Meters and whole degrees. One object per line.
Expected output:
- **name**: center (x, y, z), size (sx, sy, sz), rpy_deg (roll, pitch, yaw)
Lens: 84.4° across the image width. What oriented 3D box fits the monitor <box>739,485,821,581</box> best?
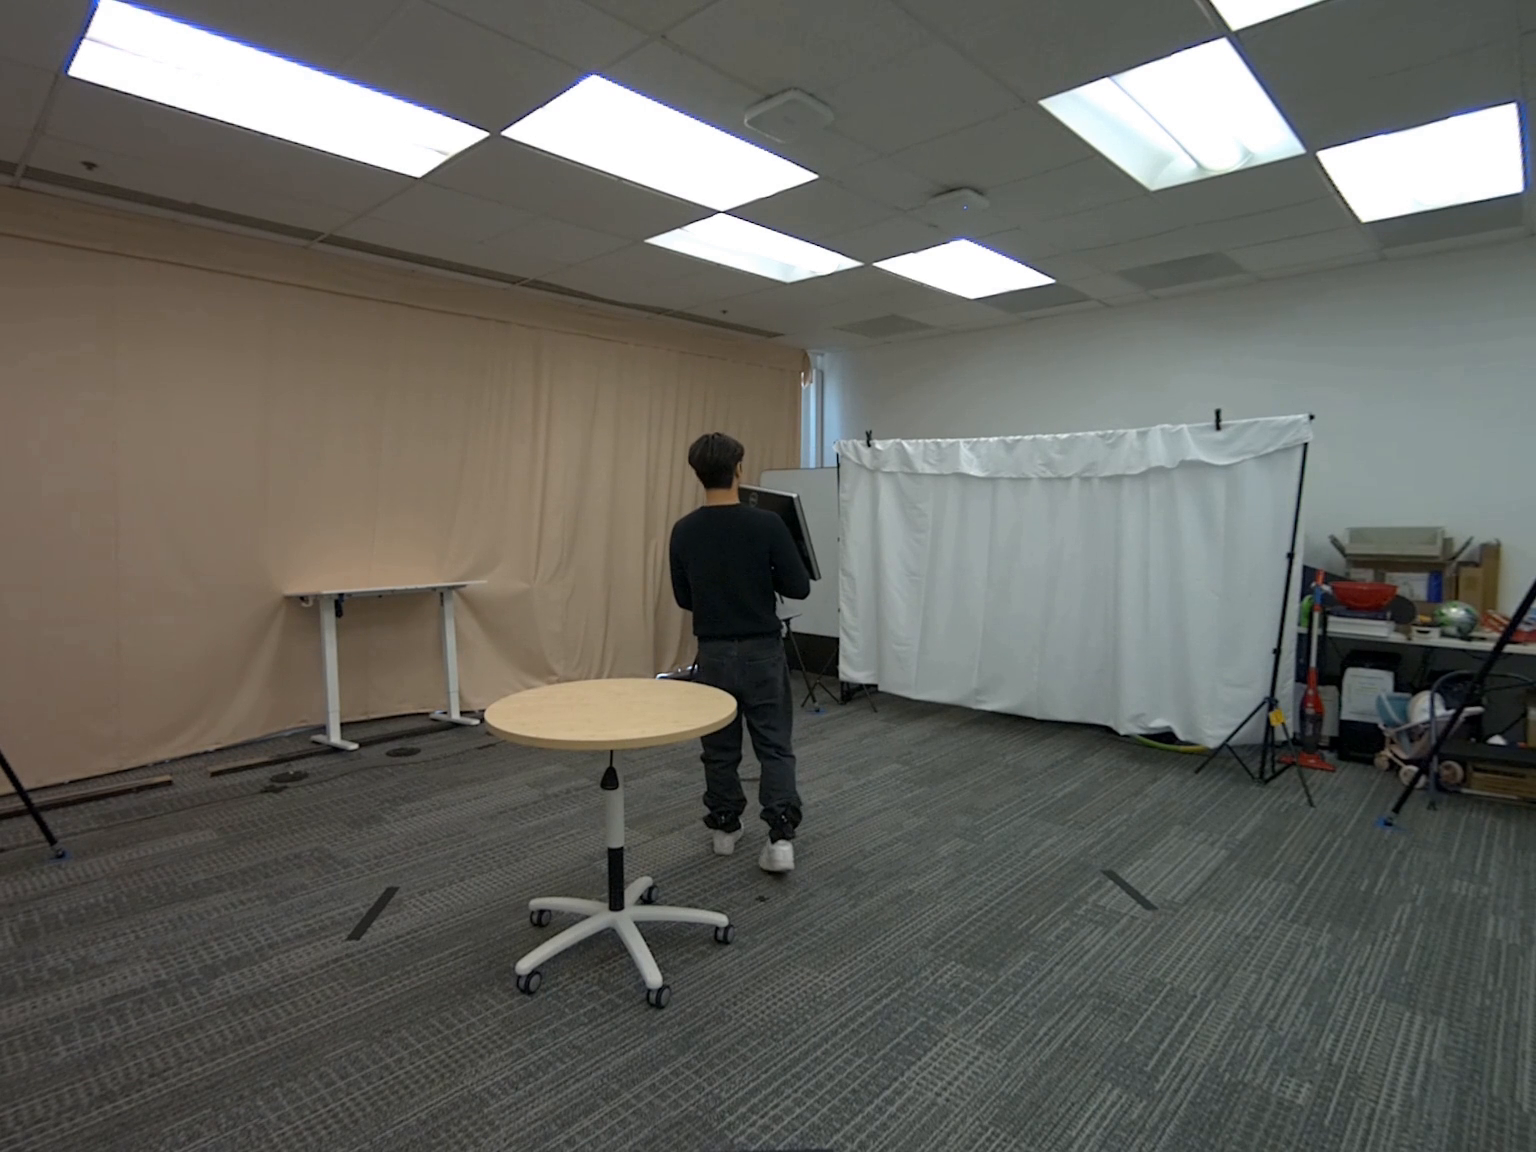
- **monitor**: center (-0.012, -0.106, 3.478), size (0.170, 0.513, 0.547), rpy_deg (-4, 11, -31)
